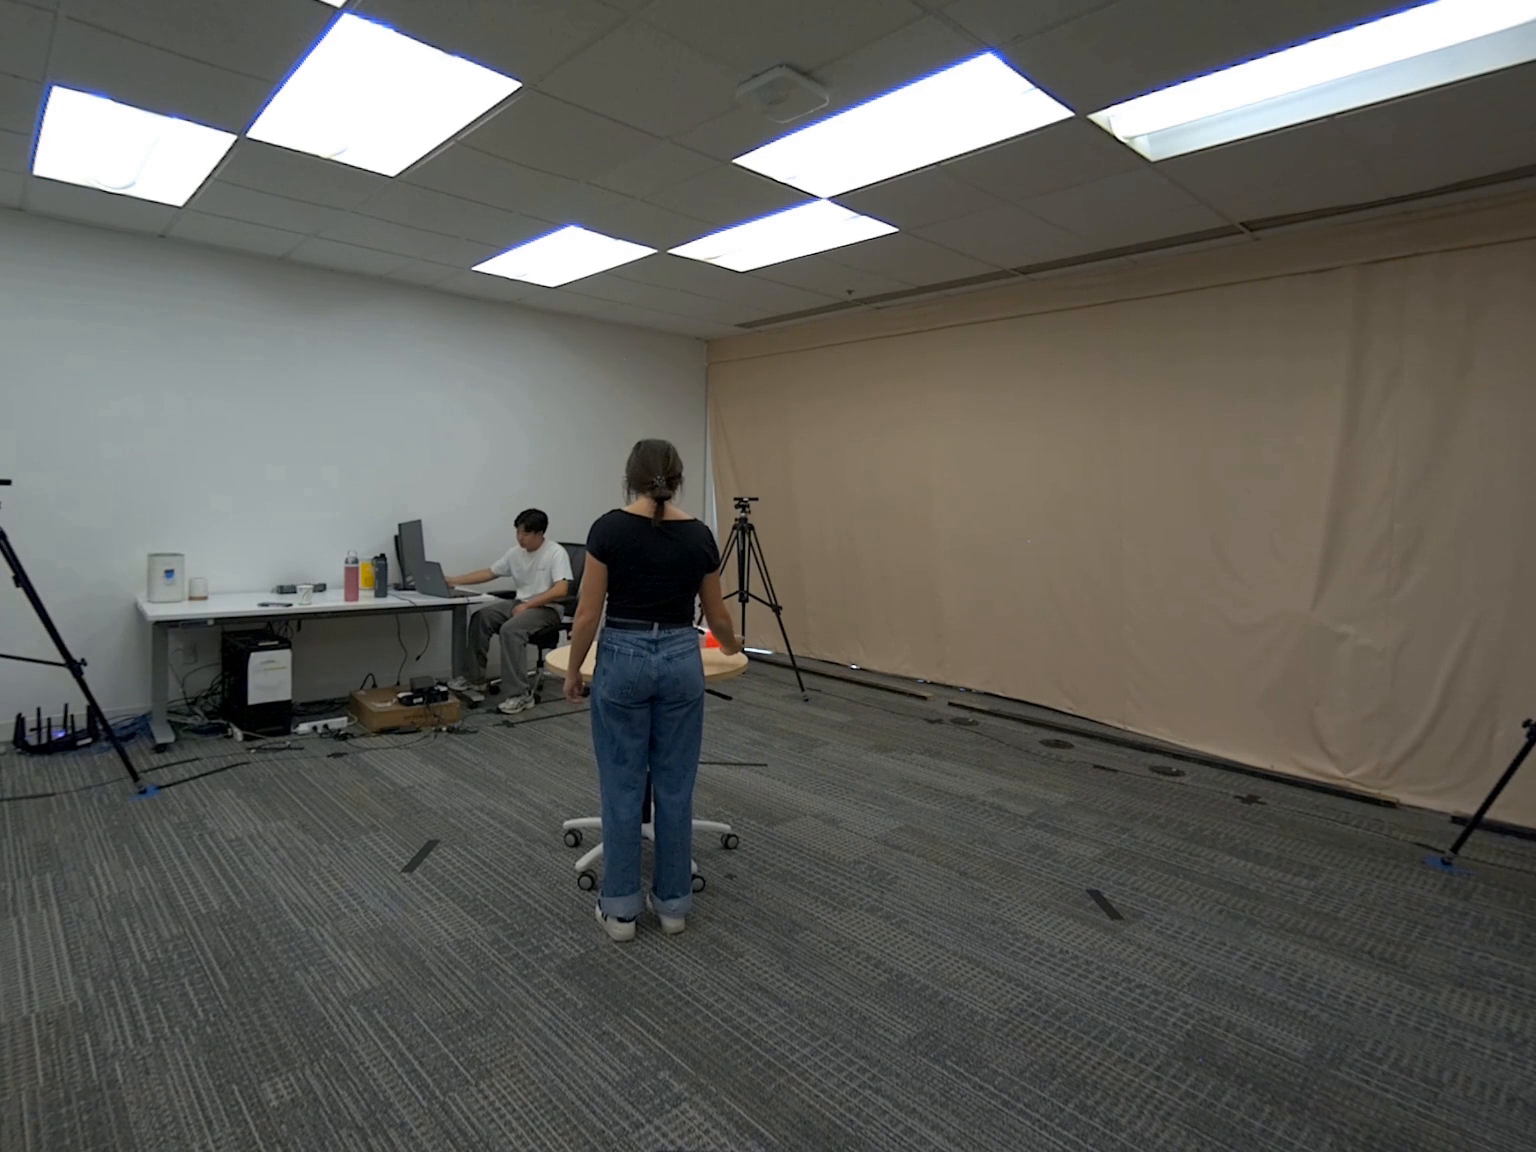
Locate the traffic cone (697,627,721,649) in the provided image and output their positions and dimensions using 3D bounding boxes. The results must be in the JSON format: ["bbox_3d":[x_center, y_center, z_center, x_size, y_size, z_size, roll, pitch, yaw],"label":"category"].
[{"bbox_3d":[-0.298,0.243,3.118,0.385,0.203,0.204,7,1,3],"label":"traffic cone"}]
